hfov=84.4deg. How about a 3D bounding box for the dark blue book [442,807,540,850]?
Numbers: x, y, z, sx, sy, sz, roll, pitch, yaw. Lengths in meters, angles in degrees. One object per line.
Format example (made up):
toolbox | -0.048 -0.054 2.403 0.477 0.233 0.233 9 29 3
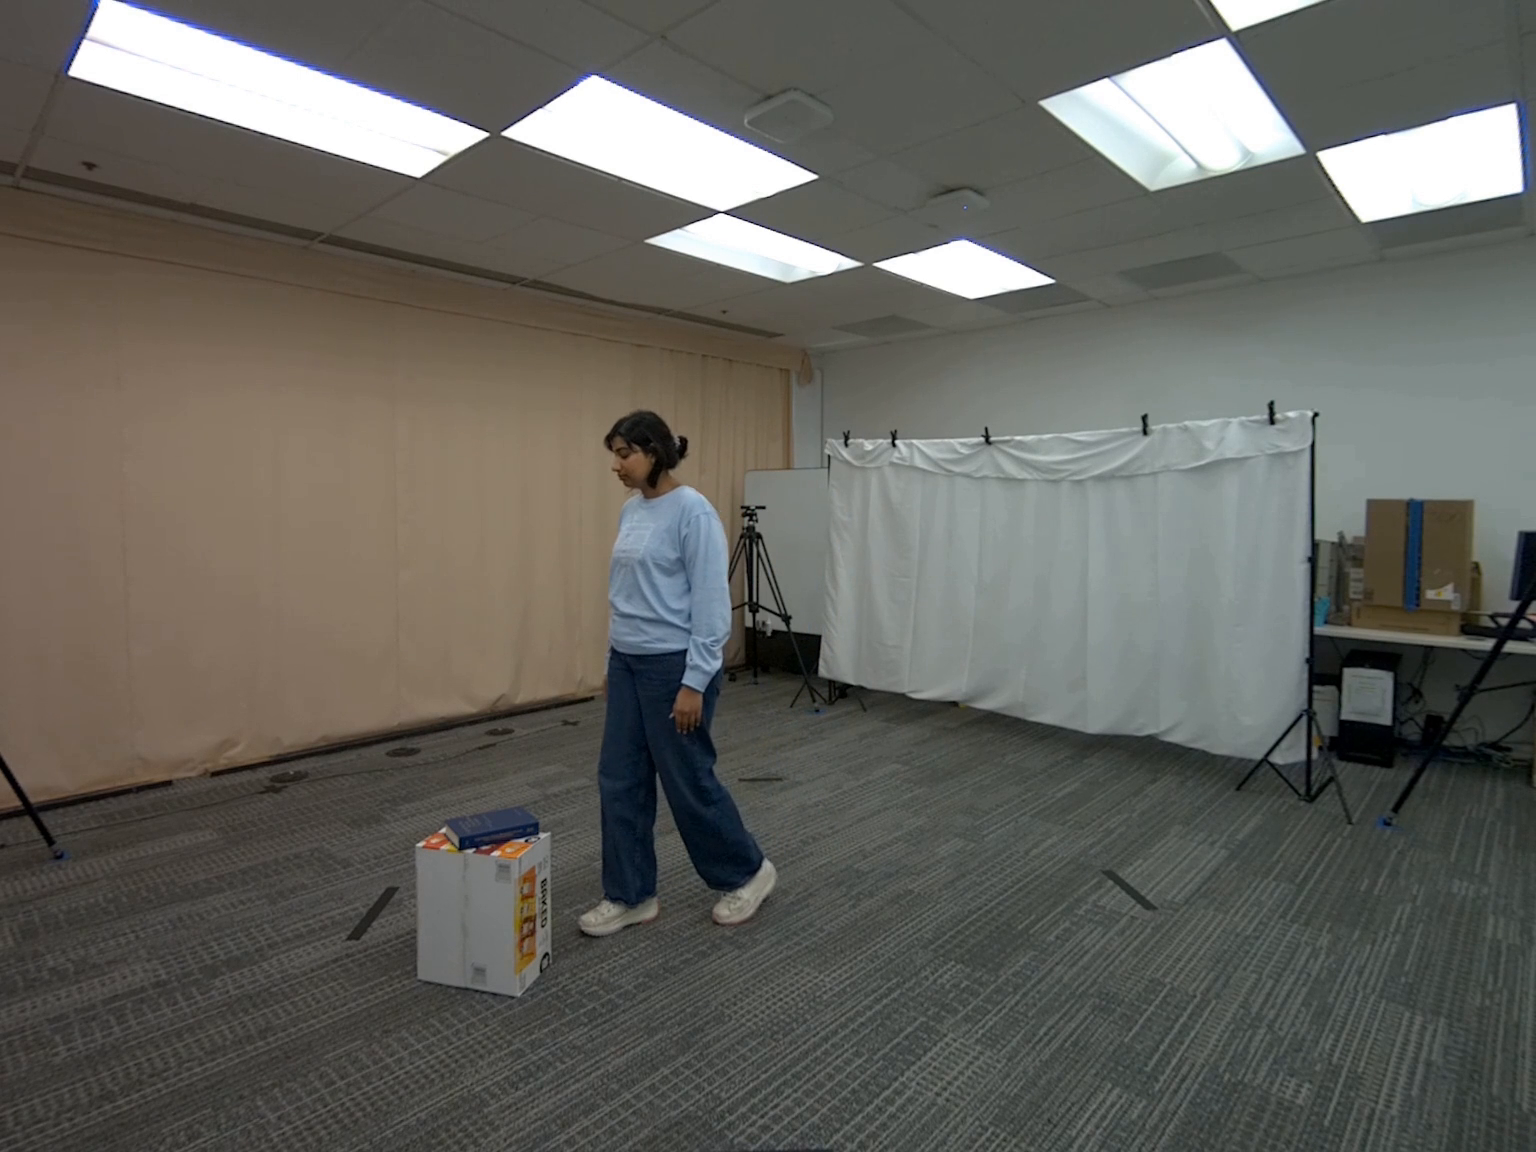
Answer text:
dark blue book | -0.844 0.761 2.541 0.238 0.045 0.168 -2 4 -35
